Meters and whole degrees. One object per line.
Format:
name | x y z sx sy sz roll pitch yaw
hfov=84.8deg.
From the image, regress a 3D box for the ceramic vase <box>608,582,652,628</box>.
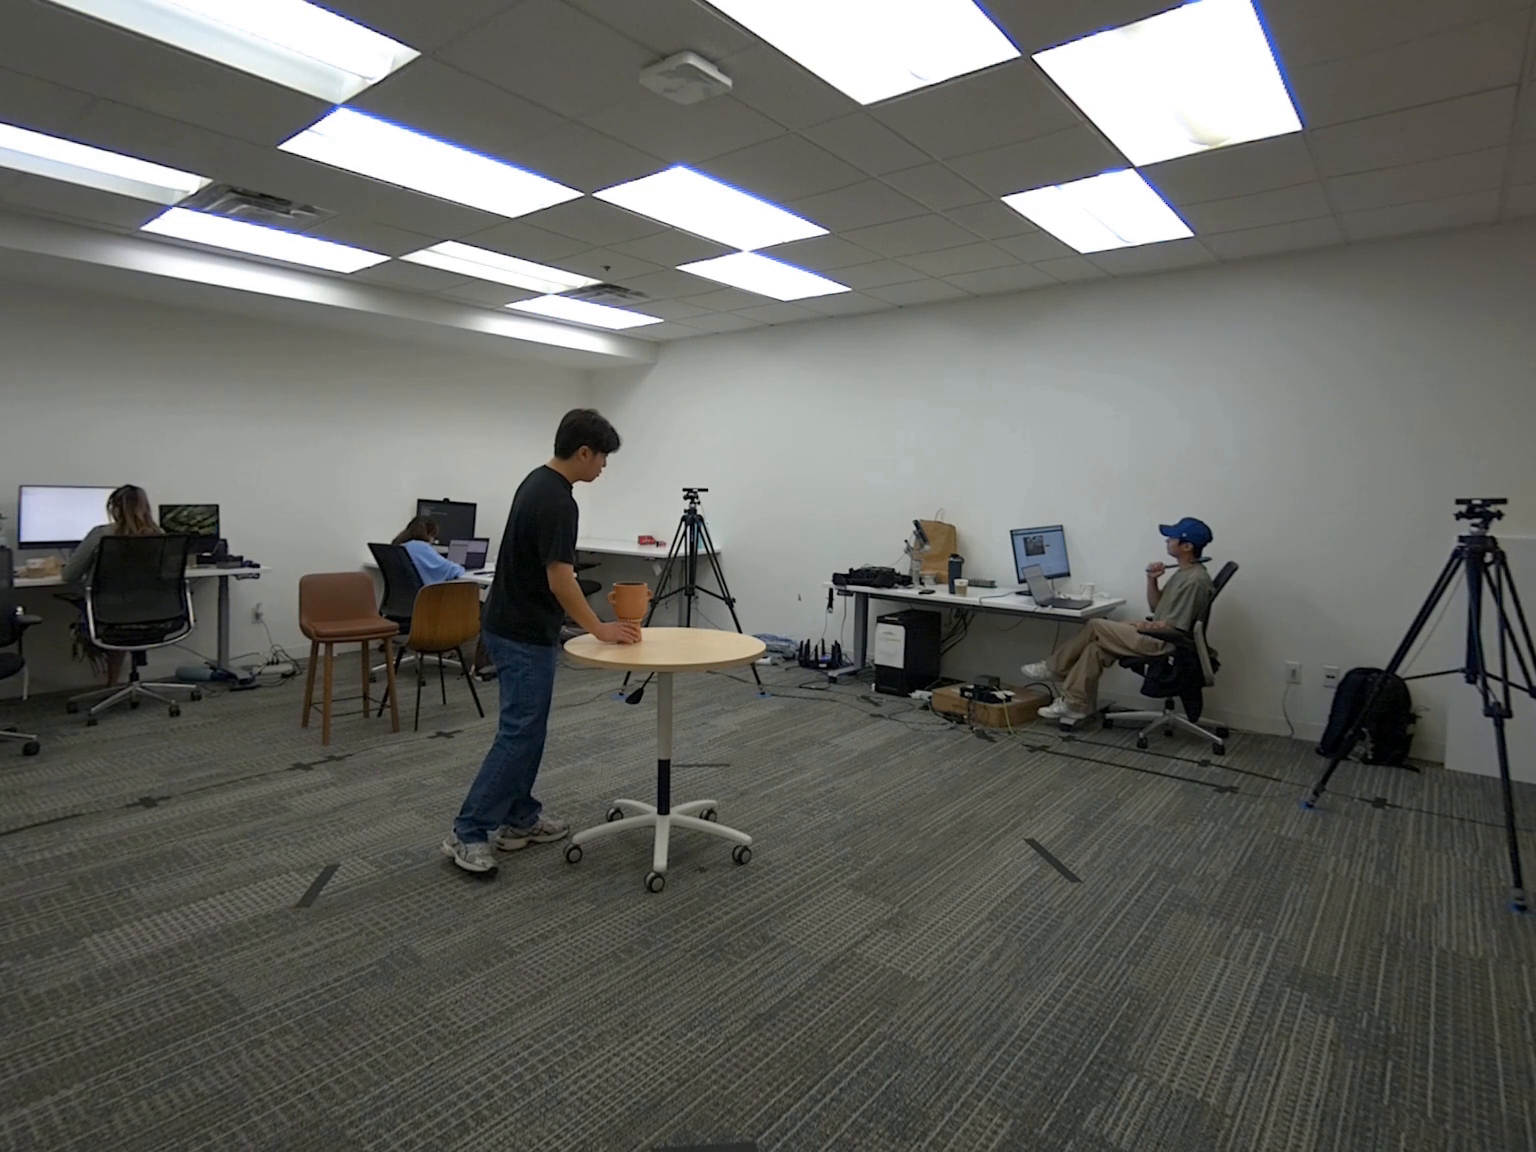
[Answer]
ceramic vase | -0.558 0.142 3.302 0.160 0.219 0.134 1 5 5
